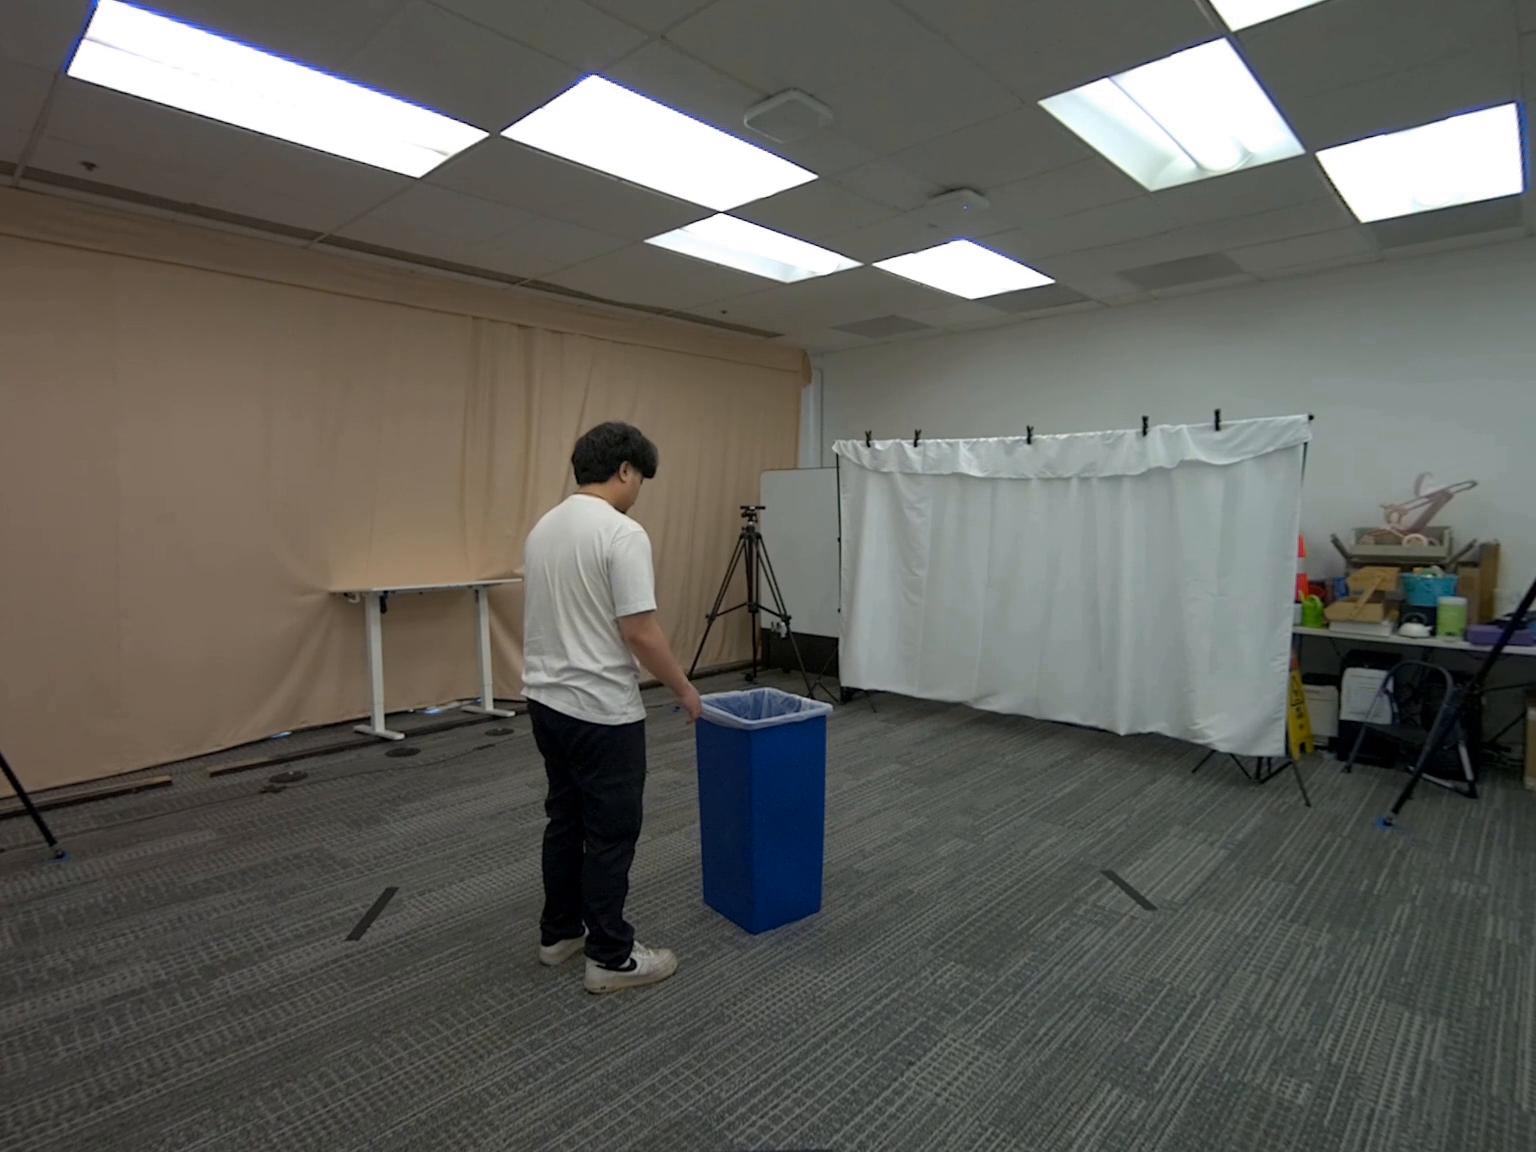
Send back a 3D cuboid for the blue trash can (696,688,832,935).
[{"bbox_3d":[-0.025,0.792,2.907,0.363,0.712,0.390,-2,4,-37],"label":"blue trash can"}]
